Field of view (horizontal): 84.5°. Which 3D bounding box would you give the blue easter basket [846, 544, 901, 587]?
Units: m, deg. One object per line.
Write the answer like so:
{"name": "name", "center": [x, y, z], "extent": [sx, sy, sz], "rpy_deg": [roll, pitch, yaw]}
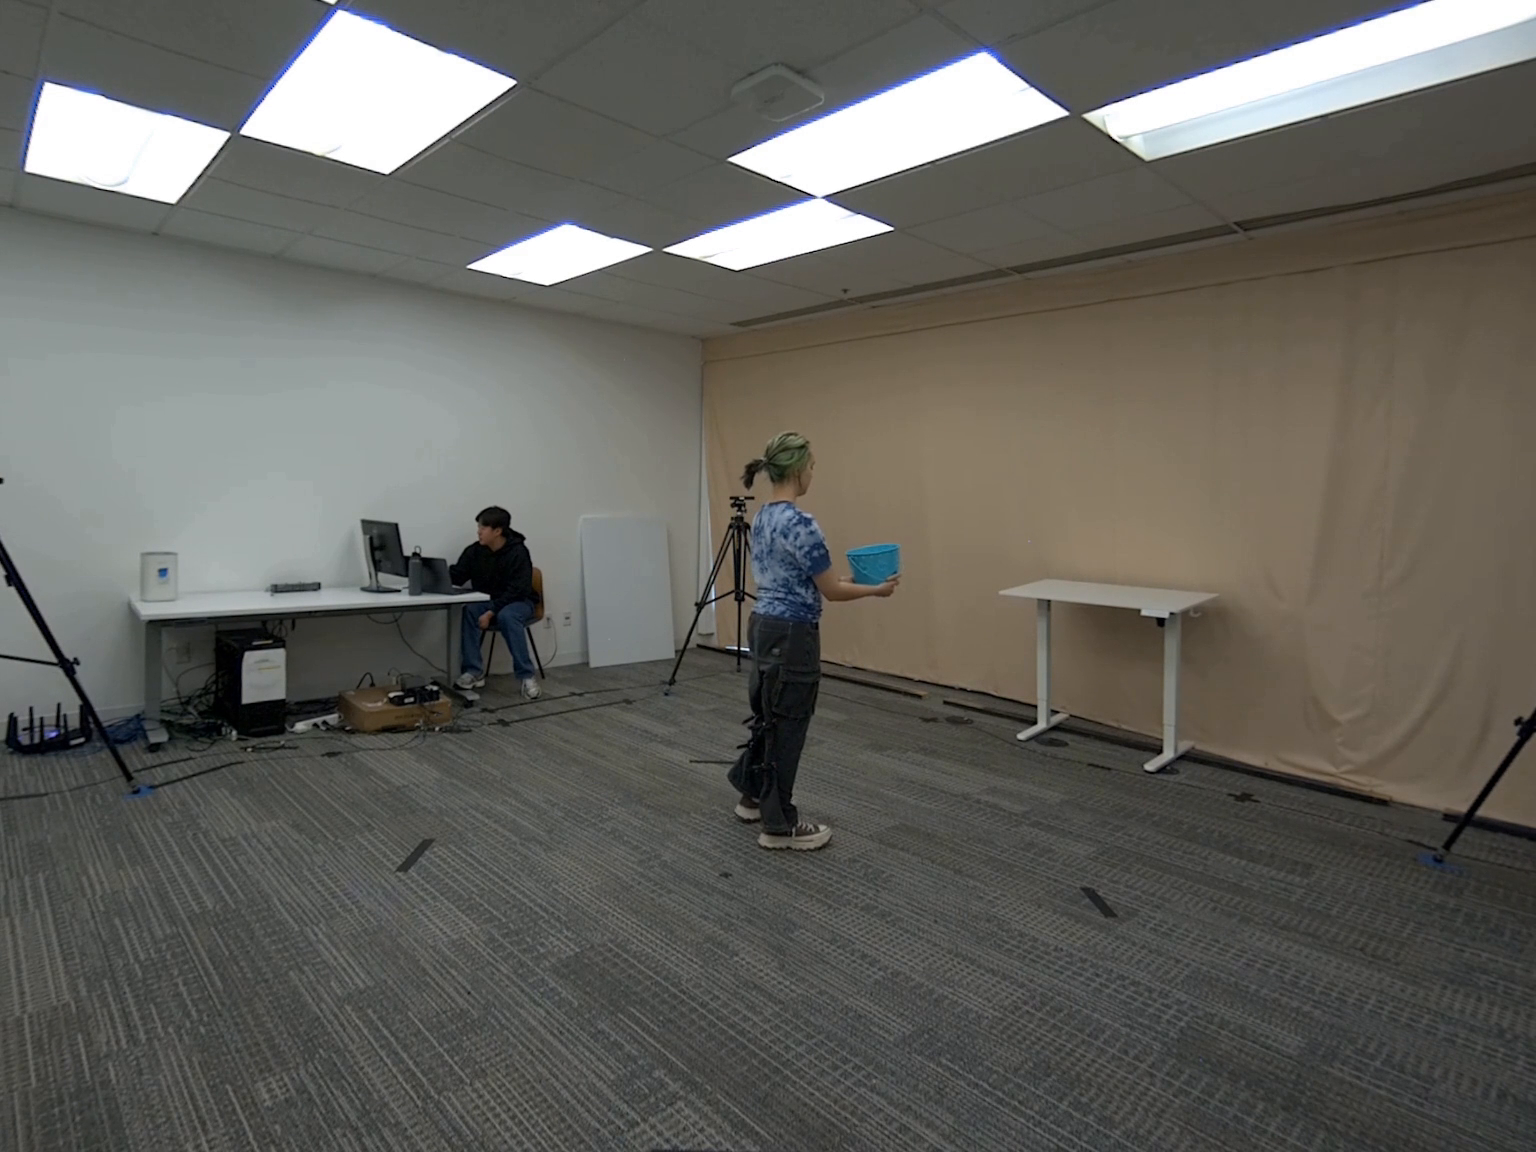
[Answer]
{"name": "blue easter basket", "center": [0.440, -0.038, 3.523], "extent": [0.243, 0.155, 0.244], "rpy_deg": [-8, 5, -1]}
